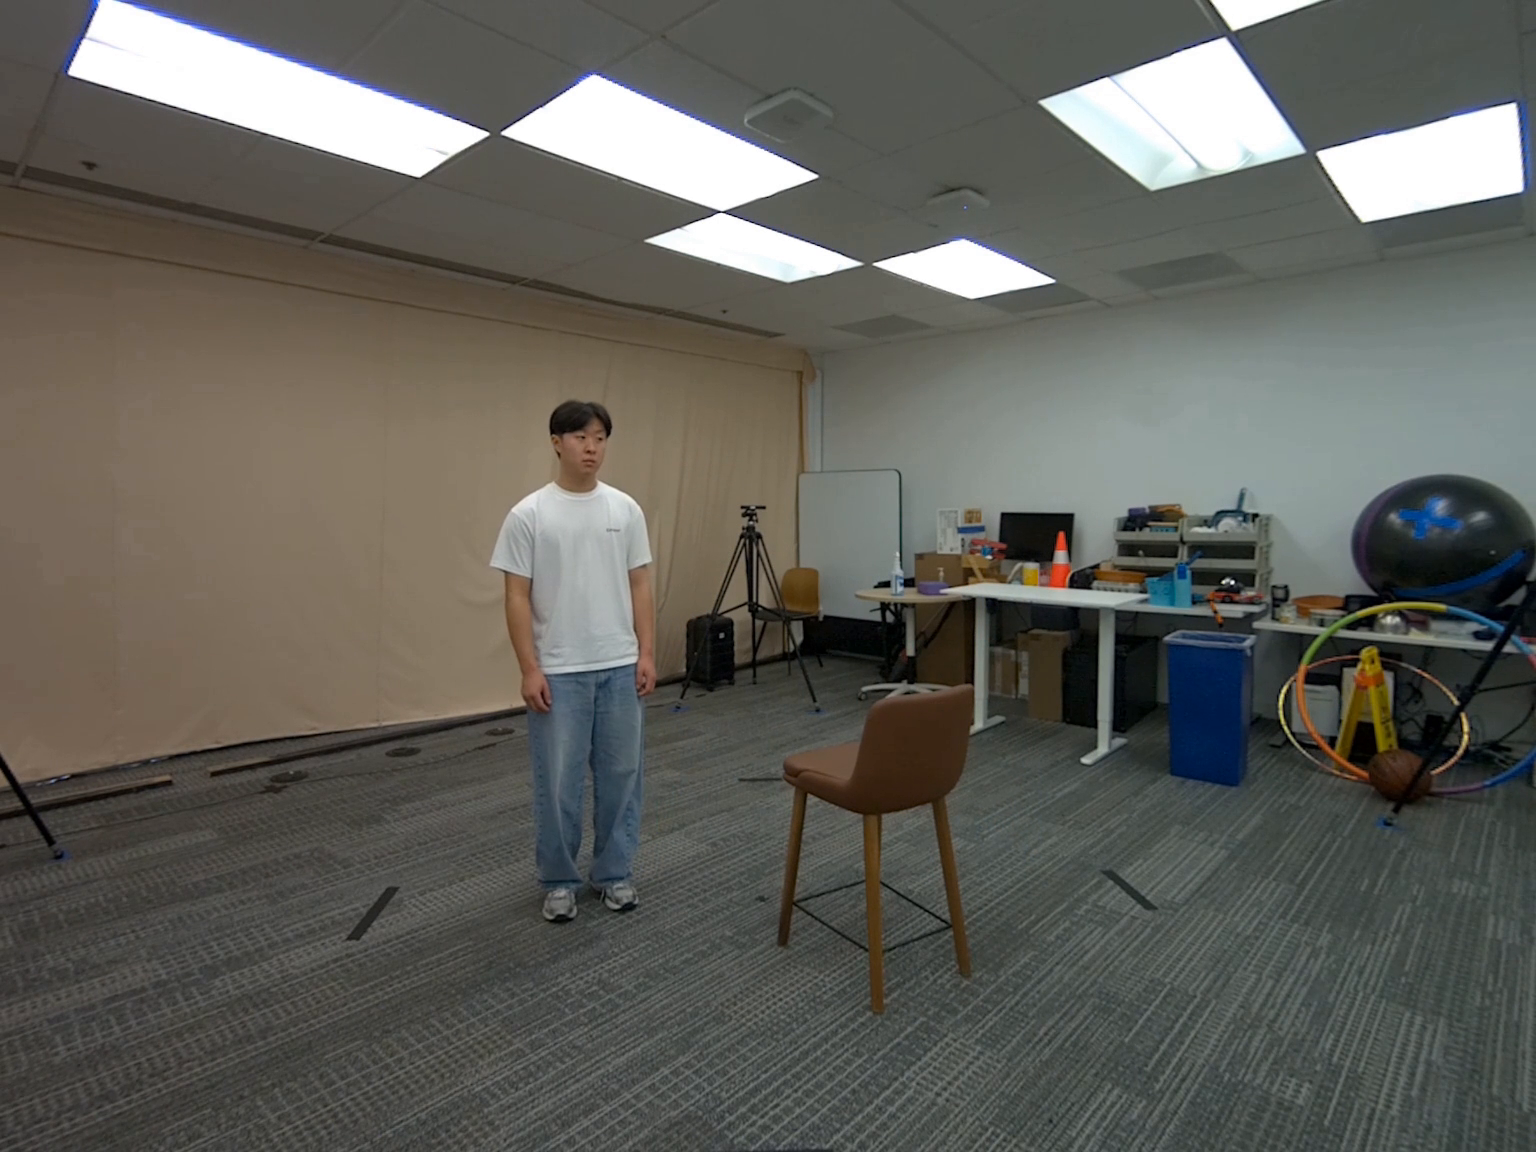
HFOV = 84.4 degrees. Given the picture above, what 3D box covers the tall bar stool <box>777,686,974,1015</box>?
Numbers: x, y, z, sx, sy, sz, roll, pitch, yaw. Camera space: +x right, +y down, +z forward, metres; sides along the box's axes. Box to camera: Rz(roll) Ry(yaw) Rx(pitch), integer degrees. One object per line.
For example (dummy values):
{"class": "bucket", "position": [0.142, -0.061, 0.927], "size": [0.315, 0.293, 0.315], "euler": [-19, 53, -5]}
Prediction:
{"class": "tall bar stool", "position": [0.332, 0.742, 2.558], "size": [0.443, 0.887, 0.482], "euler": [-2, 6, -34]}
